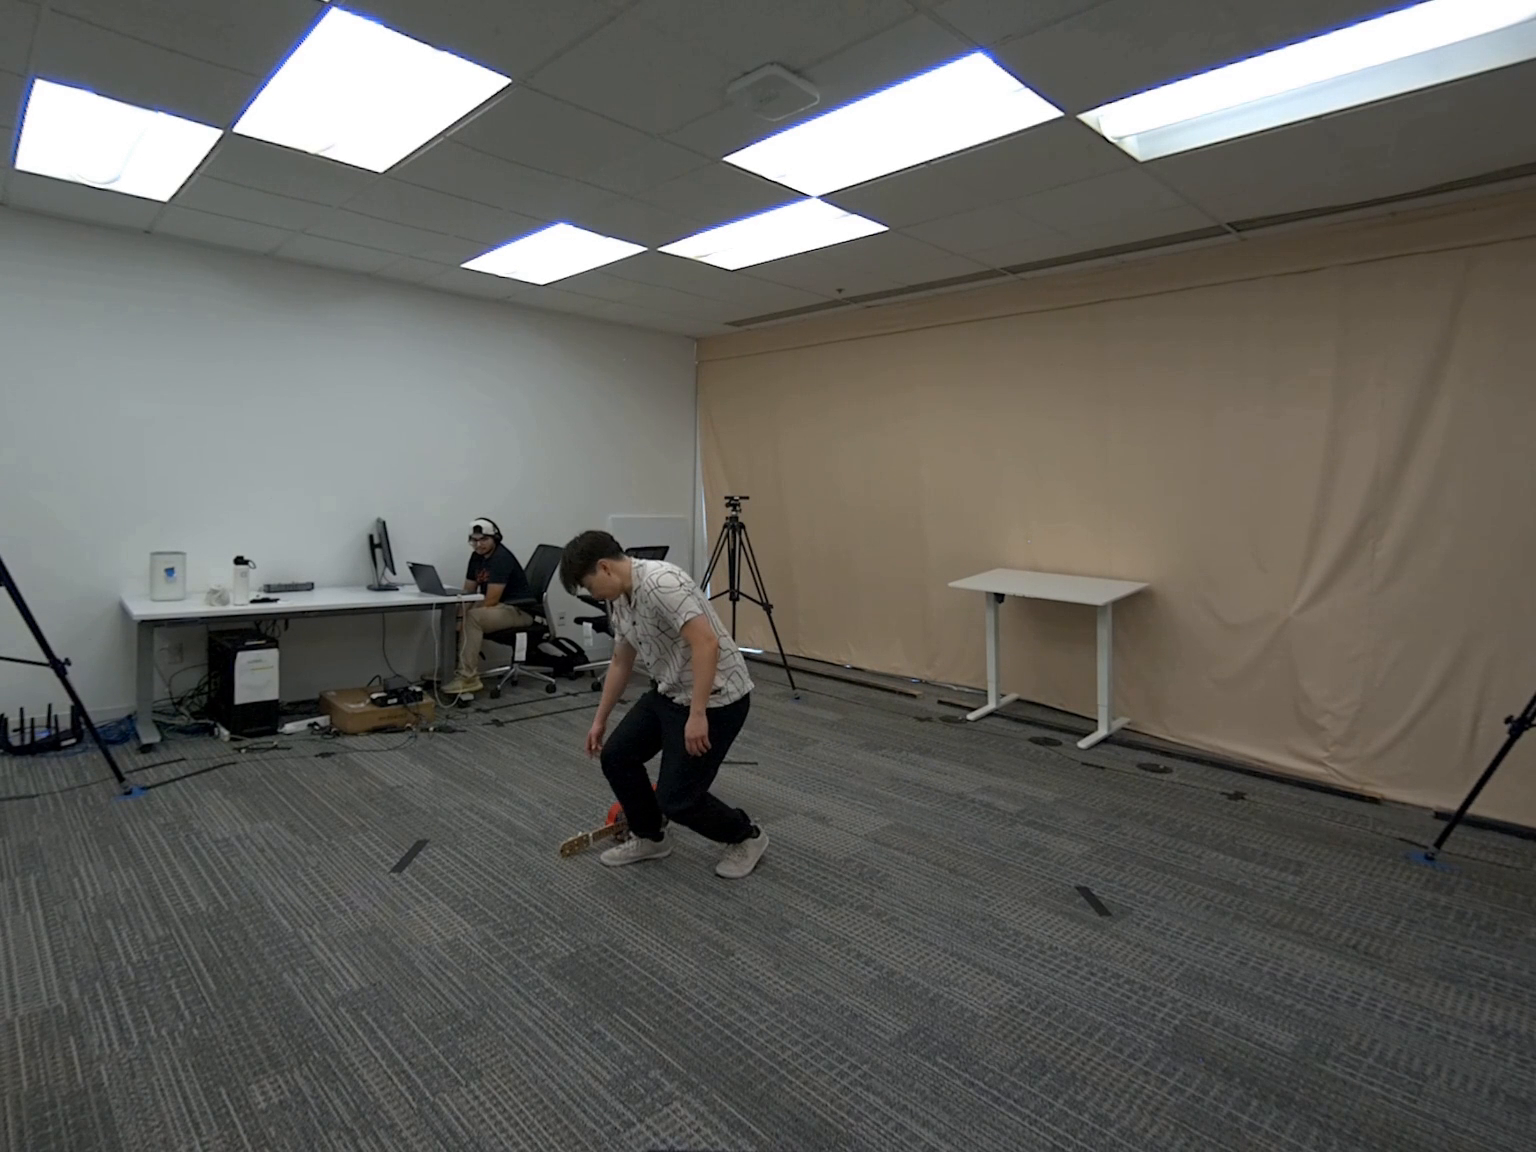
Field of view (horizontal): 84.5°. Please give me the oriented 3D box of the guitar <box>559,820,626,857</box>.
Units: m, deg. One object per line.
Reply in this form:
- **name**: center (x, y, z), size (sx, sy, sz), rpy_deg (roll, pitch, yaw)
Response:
- **guitar**: center (-0.619, 0.974, 3.375), size (0.487, 0.192, 0.072), rpy_deg (-3, 10, -37)
